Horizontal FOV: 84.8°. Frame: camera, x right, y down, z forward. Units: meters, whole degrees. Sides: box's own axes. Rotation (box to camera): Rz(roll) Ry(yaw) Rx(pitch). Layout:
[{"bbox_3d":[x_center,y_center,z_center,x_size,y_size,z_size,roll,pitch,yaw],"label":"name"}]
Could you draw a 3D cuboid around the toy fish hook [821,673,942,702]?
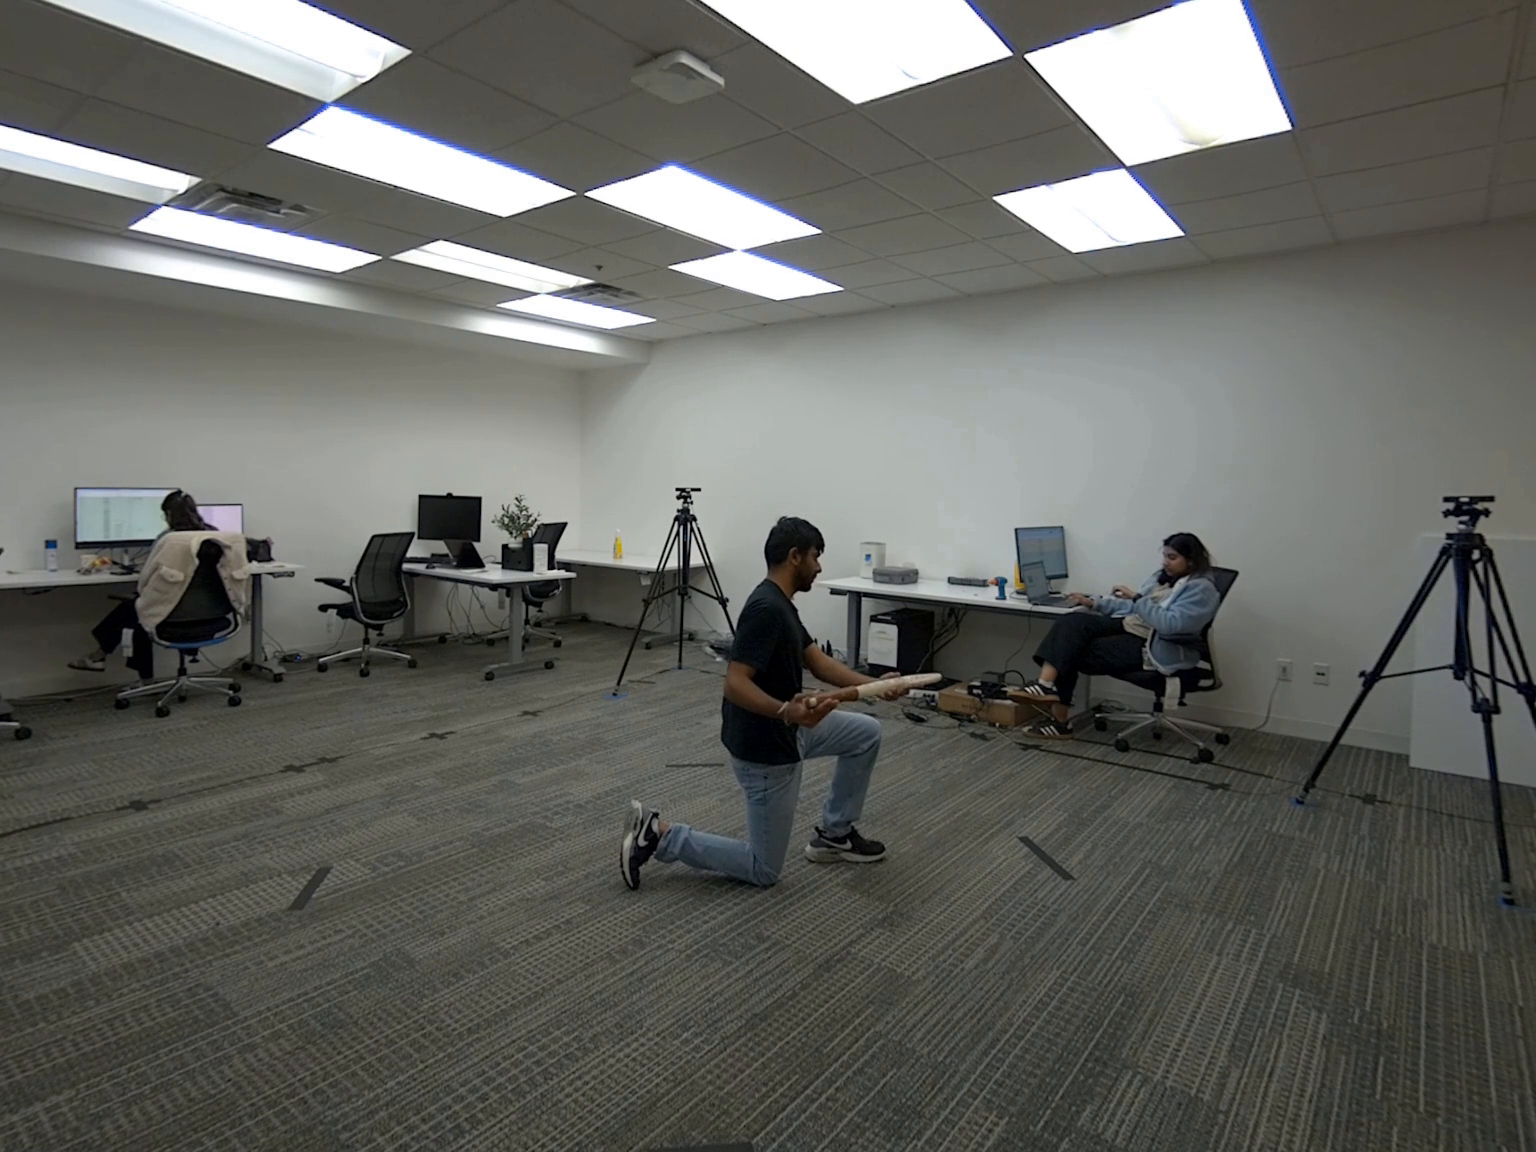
[{"bbox_3d":[0.331,0.341,2.642,0.492,0.049,0.227,-5,-13,-36],"label":"toy fish hook"}]
